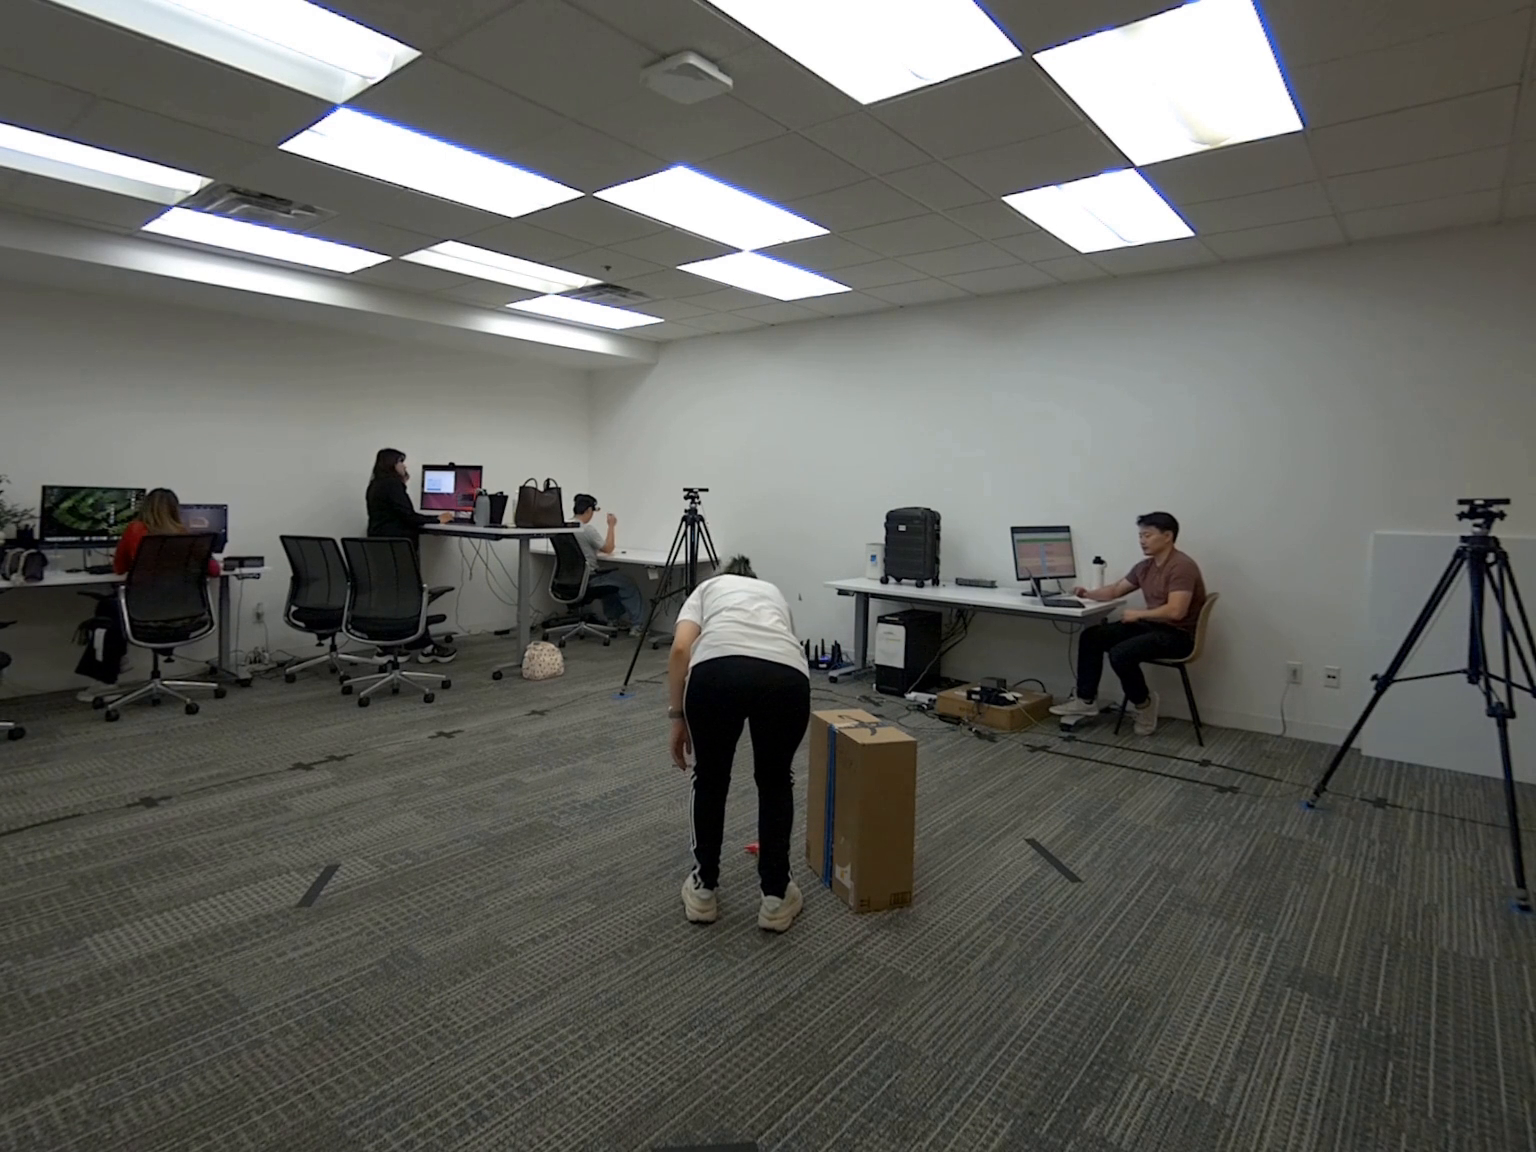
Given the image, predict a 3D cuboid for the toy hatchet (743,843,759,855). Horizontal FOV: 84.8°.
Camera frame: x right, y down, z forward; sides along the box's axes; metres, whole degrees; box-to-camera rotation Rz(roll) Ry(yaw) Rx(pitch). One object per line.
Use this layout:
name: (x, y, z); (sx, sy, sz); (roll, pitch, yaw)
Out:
toy hatchet: (0.002, 1.051, 3.159); (0.128, 0.029, 0.276); (1, 7, -19)
